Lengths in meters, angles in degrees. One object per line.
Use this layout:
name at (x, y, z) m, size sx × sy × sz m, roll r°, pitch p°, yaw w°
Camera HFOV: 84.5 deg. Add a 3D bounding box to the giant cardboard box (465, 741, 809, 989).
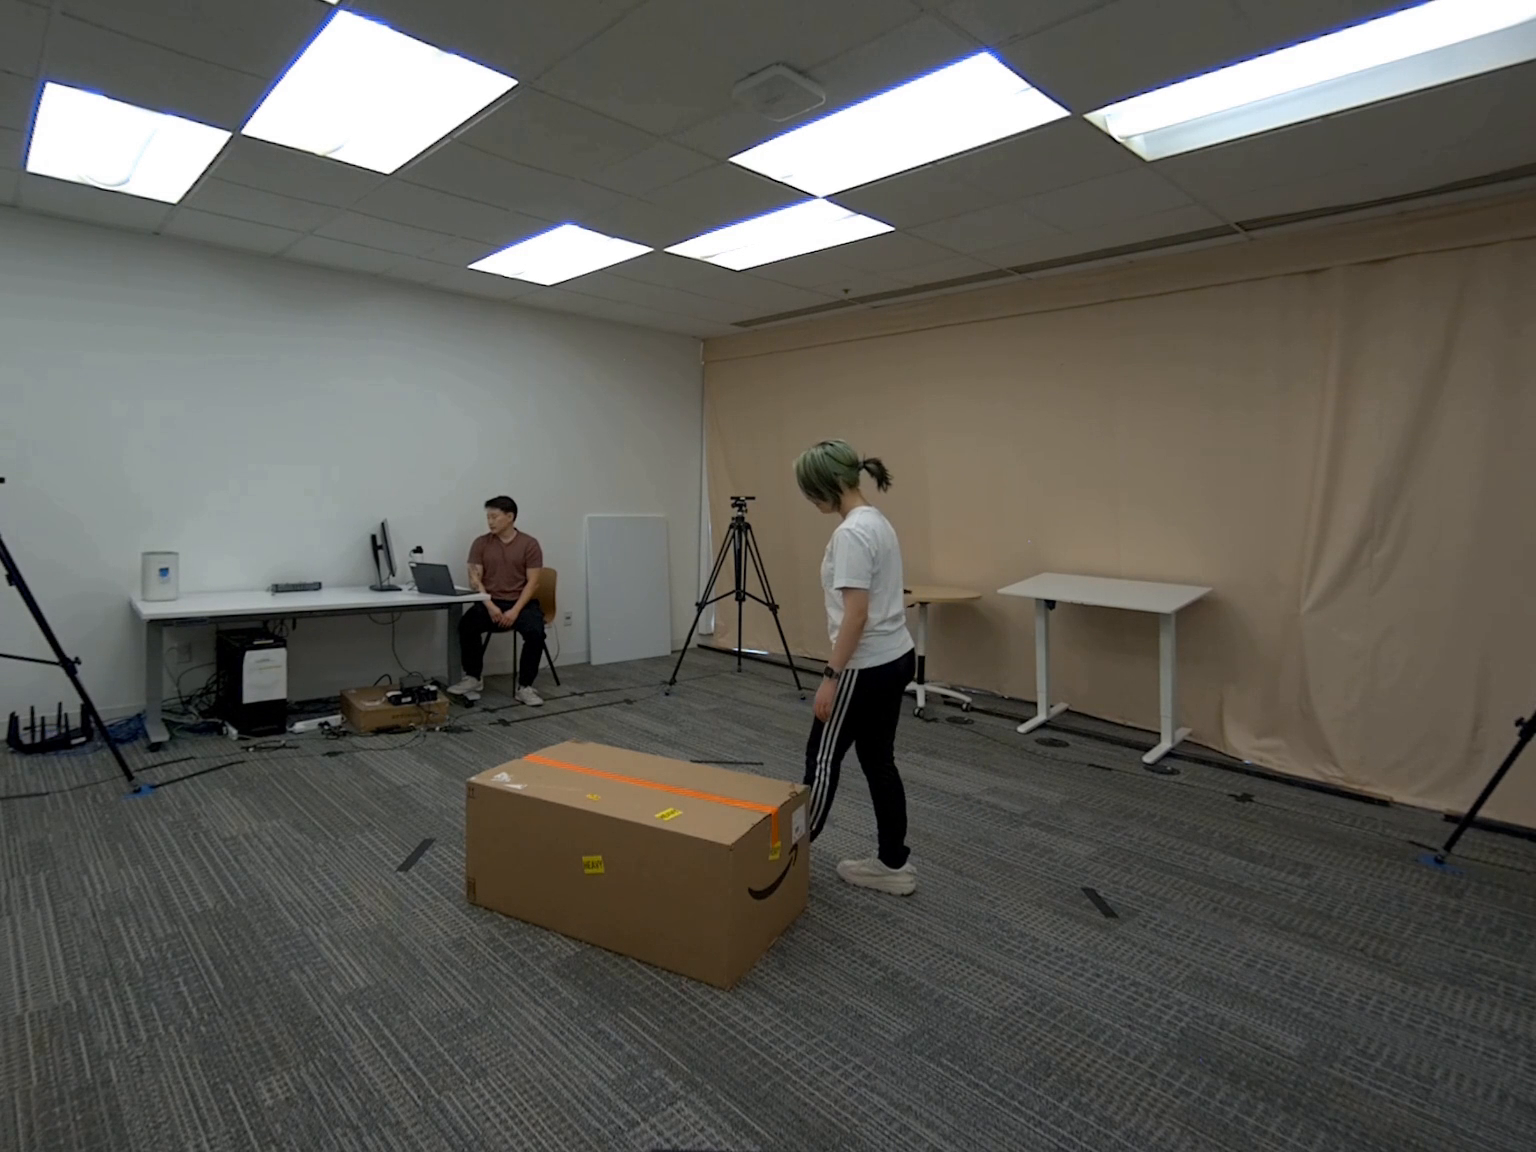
giant cardboard box at (-0.445, 0.904, 2.848) m, size 1.047 × 0.425 × 0.567 m, roll 4°, pitch 6°, yaw 27°
